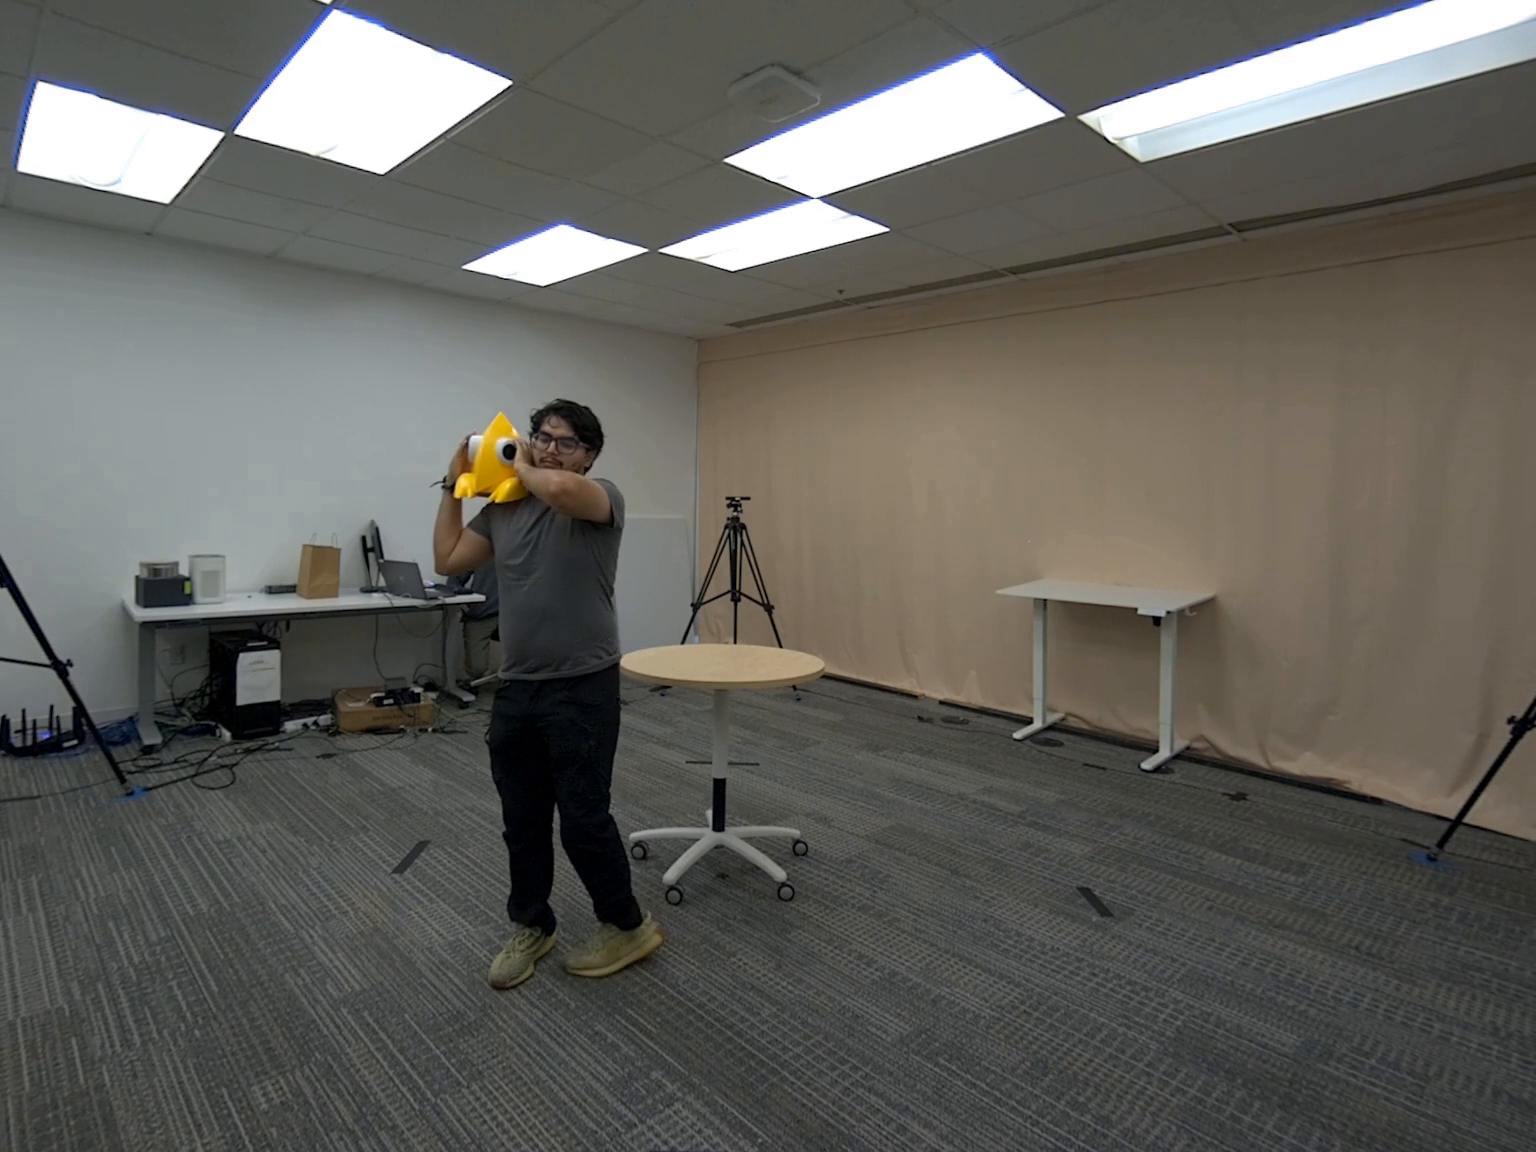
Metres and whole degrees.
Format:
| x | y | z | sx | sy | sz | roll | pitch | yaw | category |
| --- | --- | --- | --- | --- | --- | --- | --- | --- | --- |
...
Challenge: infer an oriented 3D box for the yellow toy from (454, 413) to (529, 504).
| x | y | z | sx | sy | sz | roll | pitch | yaw | category |
| --- | --- | --- | --- | --- | --- | --- | --- | --- | --- |
| -0.792 | -0.347 | 2.428 | 0.207 | 0.228 | 0.193 | 6 | 18 | 12 | yellow toy |
